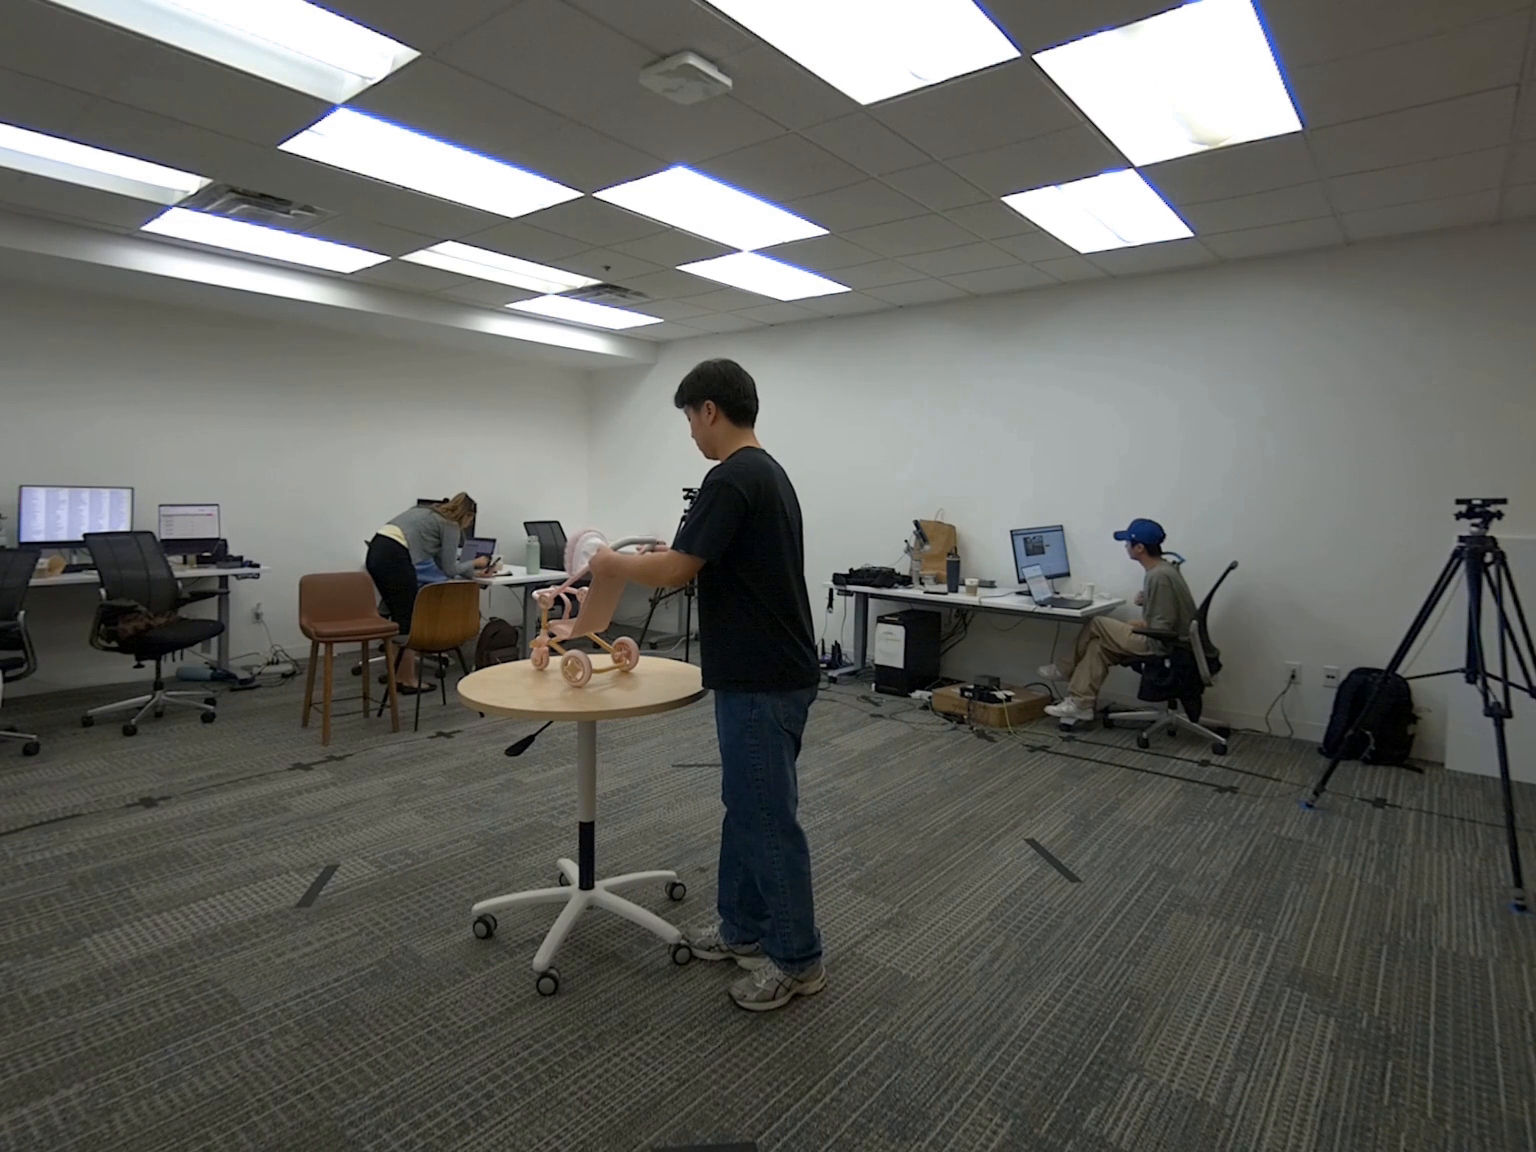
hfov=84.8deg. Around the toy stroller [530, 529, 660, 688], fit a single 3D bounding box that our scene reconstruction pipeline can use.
[{"bbox_3d":[-0.578,0.084,2.649,0.353,0.531,0.274,19,12,30],"label":"toy stroller"}]
